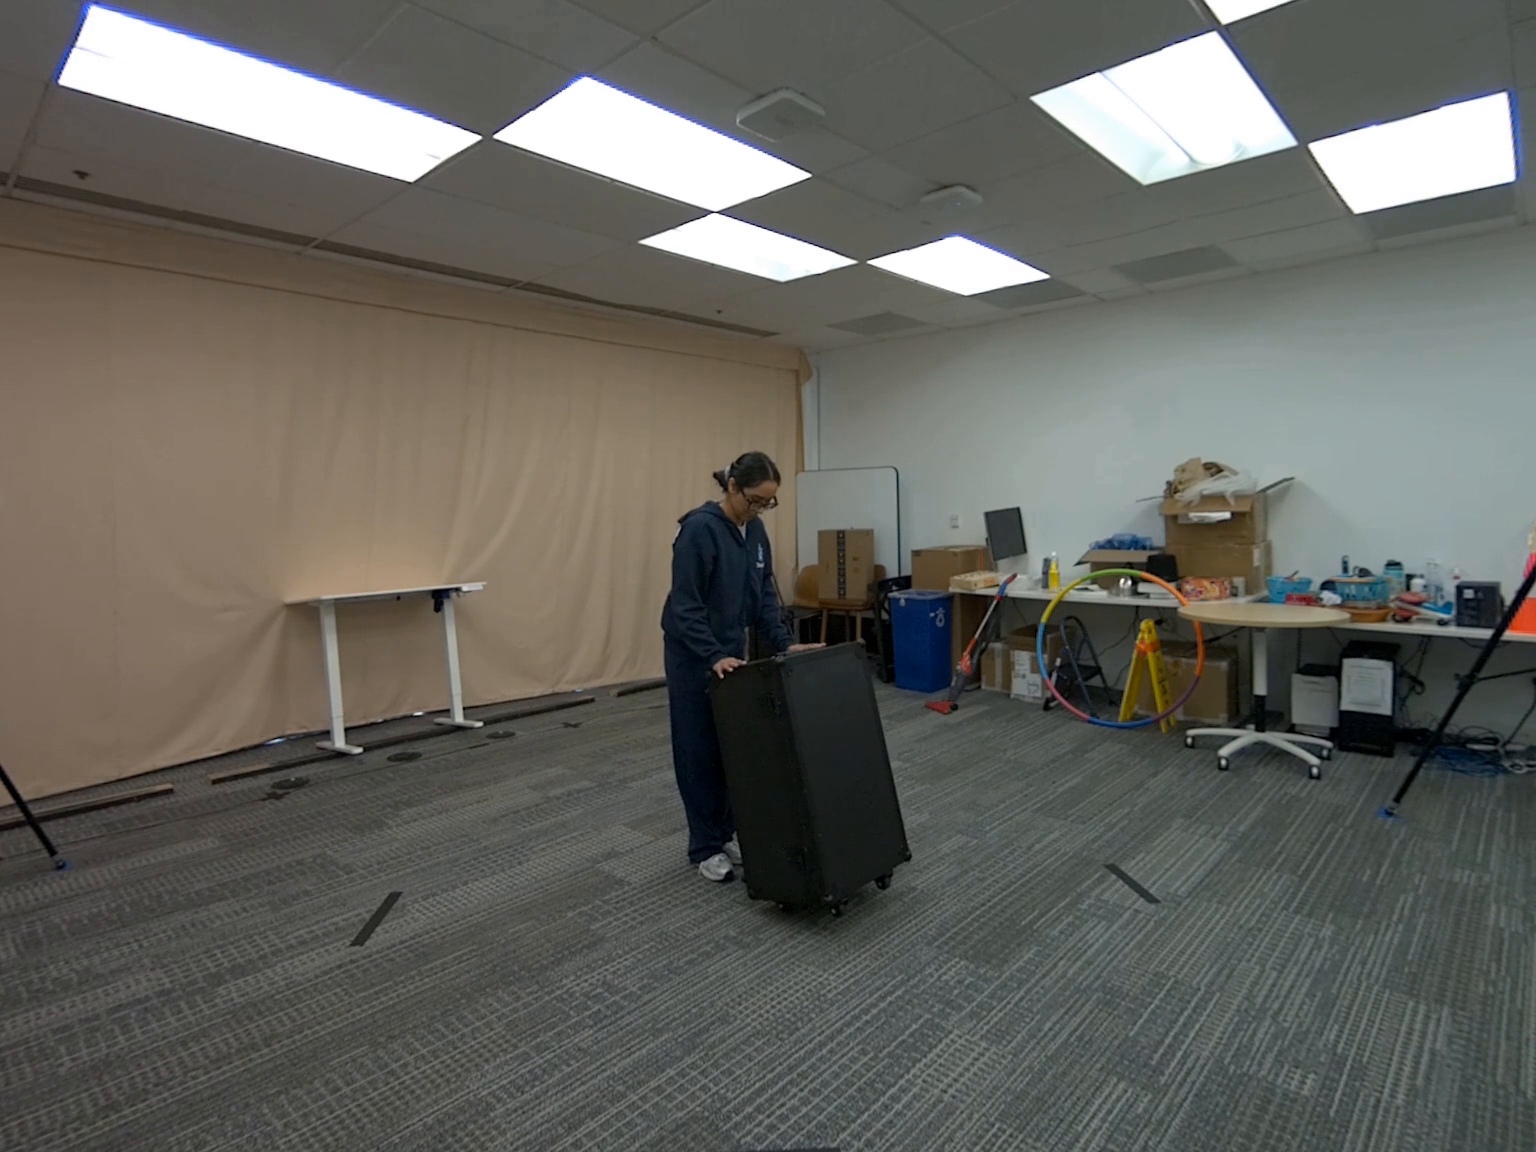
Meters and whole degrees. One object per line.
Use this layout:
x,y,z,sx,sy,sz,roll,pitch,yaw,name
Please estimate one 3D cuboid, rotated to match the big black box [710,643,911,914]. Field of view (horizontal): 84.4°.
0.143,0.702,2.959,0.406,0.866,0.505,-17,-8,42,big black box
